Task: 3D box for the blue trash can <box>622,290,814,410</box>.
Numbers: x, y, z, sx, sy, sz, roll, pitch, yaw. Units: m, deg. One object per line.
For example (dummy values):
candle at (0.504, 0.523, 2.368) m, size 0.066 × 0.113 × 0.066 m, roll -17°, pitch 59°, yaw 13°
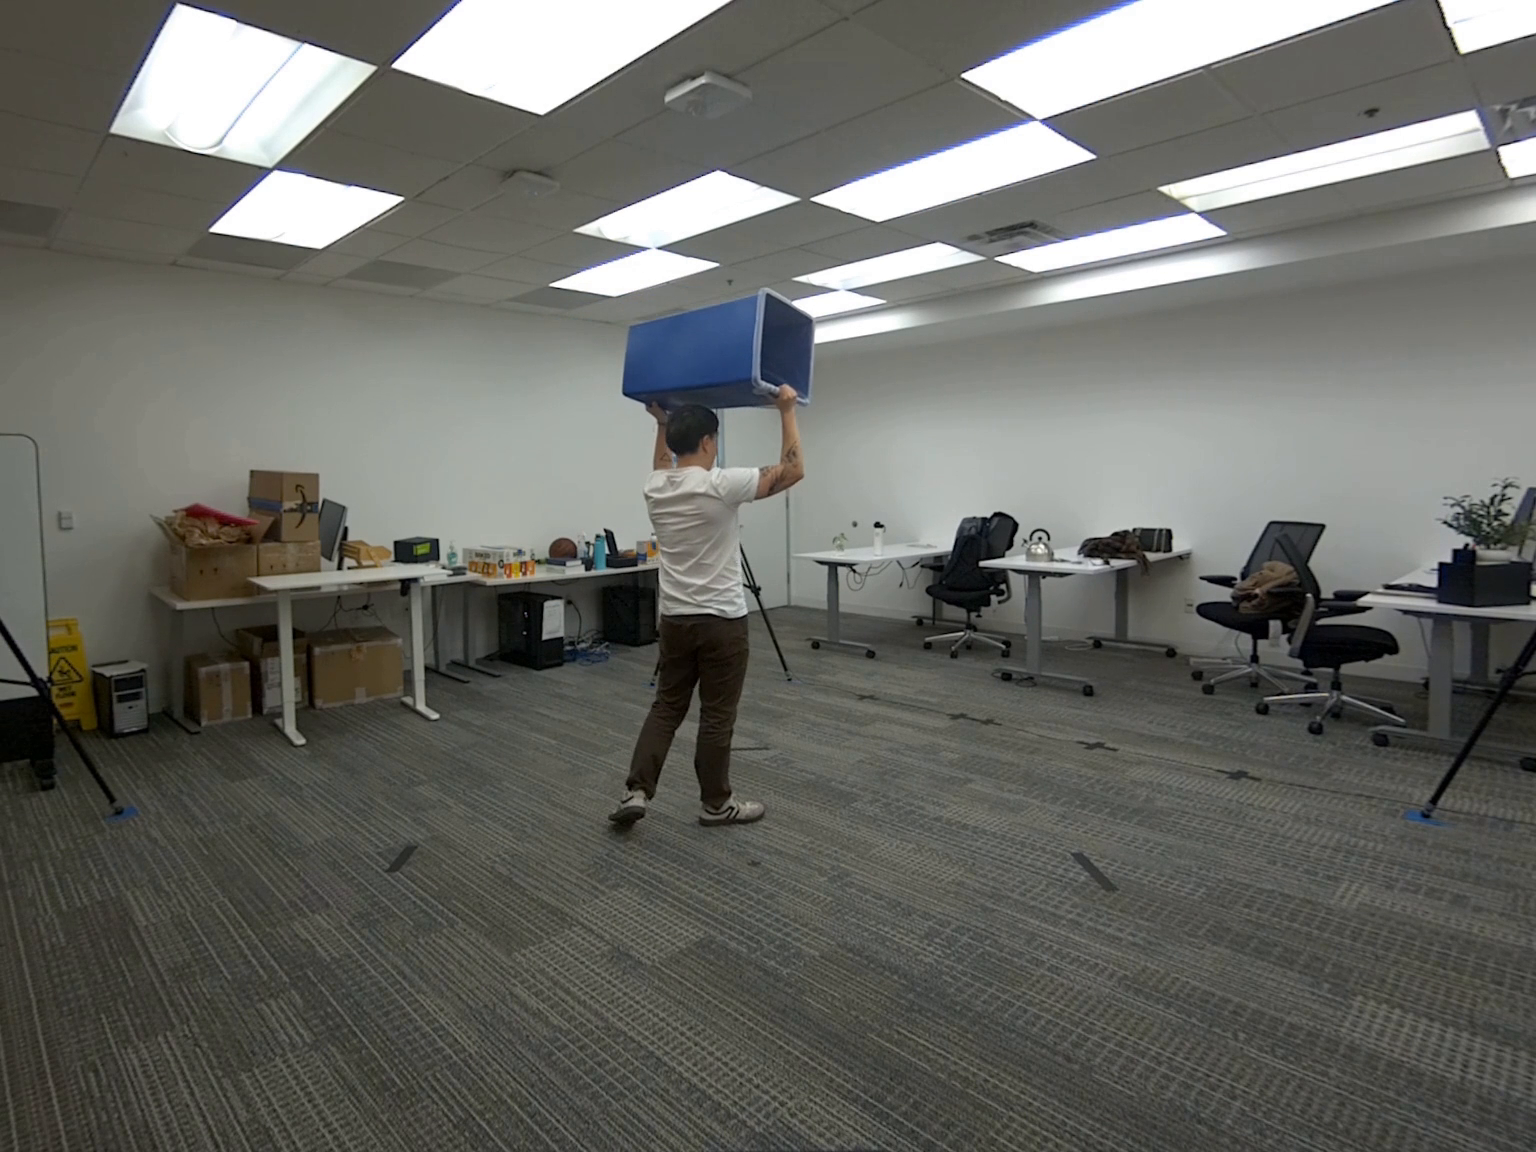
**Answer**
blue trash can at (-0.227, -0.874, 3.446) m, size 0.734 × 0.379 × 0.362 m, roll 2°, pitch -5°, yaw 38°
